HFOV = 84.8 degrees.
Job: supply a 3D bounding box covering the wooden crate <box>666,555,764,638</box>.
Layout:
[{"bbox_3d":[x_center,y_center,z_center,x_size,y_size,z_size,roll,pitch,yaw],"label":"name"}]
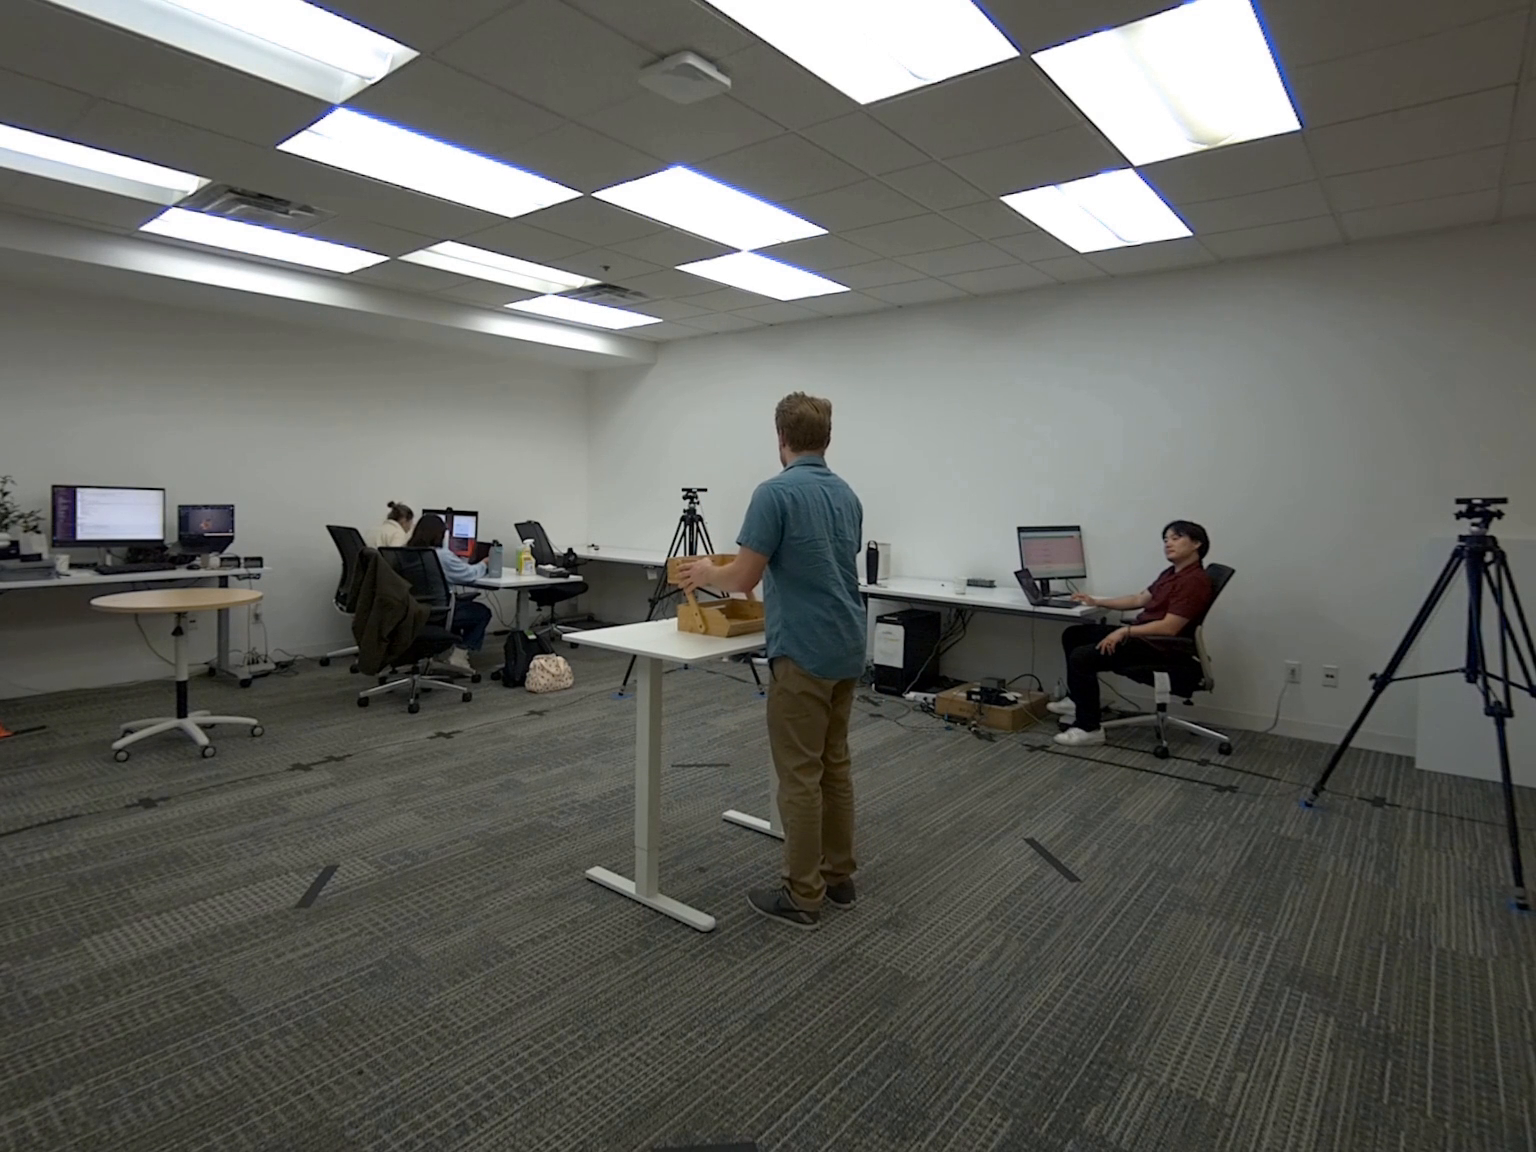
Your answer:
[{"bbox_3d":[-0.161,0.058,3.091,0.312,0.272,0.315,3,5,39],"label":"wooden crate"}]
